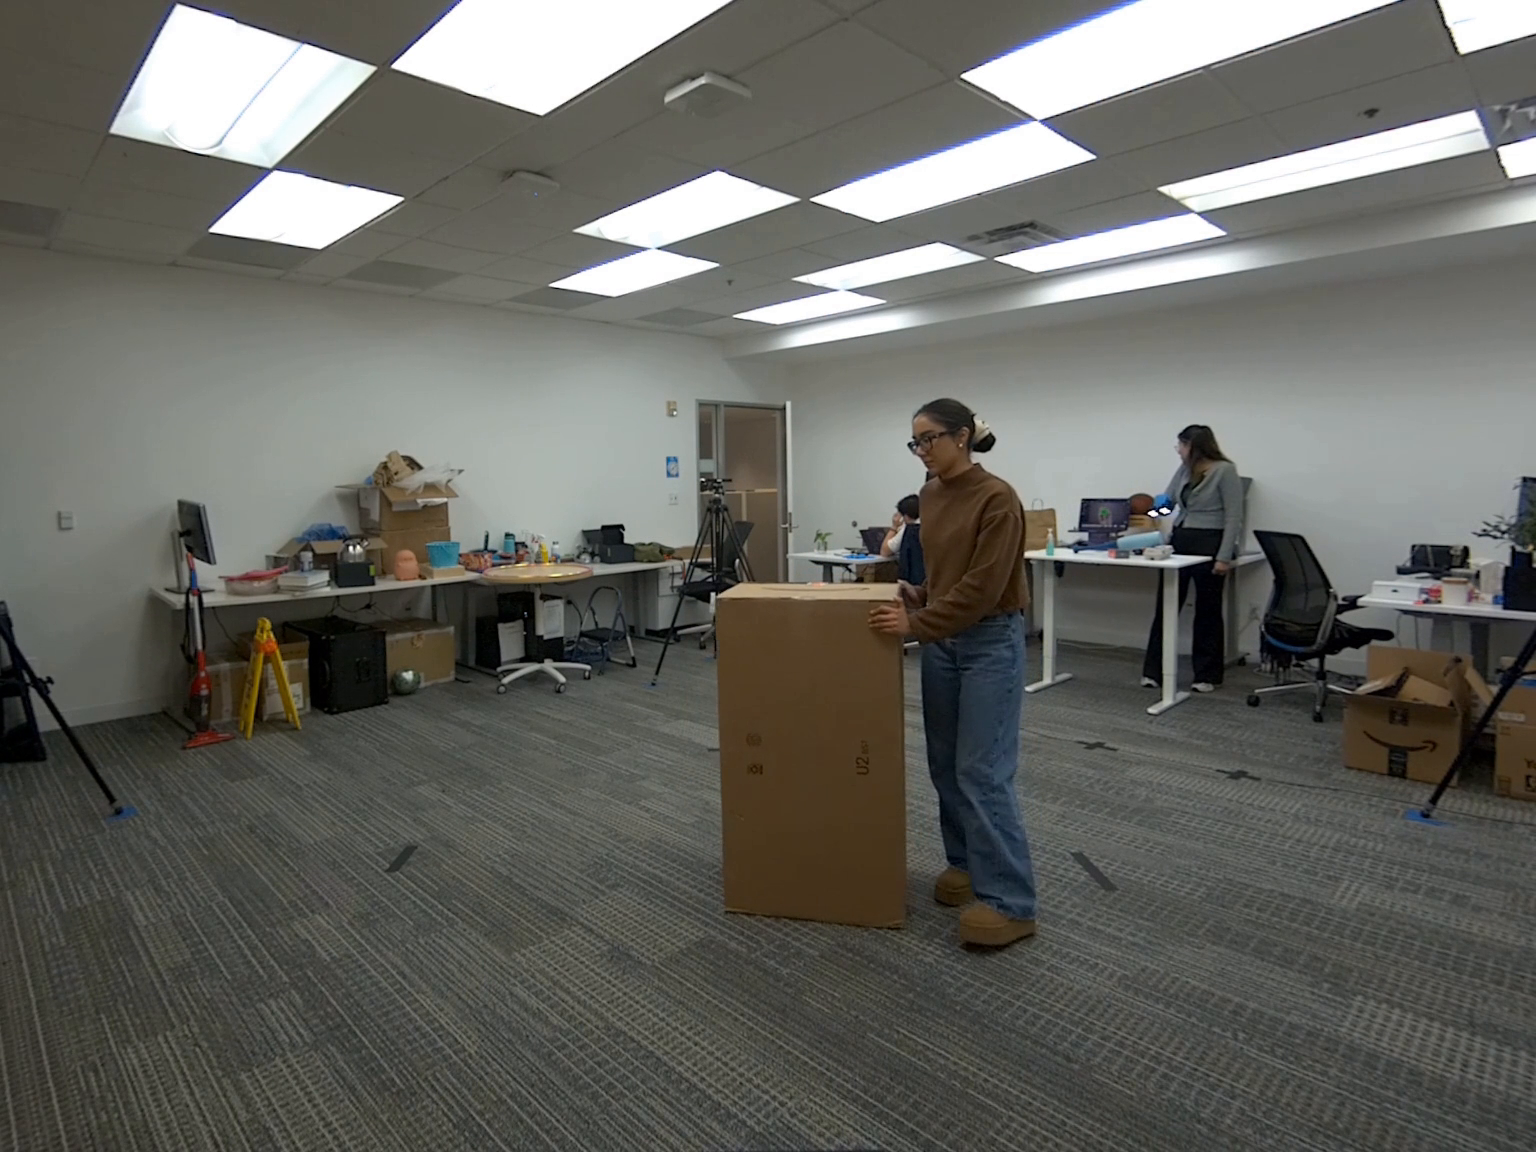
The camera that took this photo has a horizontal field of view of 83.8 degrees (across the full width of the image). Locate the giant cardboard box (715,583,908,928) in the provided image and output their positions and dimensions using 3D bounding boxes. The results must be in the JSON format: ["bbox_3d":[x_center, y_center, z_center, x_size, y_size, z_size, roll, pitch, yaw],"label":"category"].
[{"bbox_3d":[0.162,0.557,2.879,0.585,1.023,0.422,-1,3,13],"label":"giant cardboard box"}]
